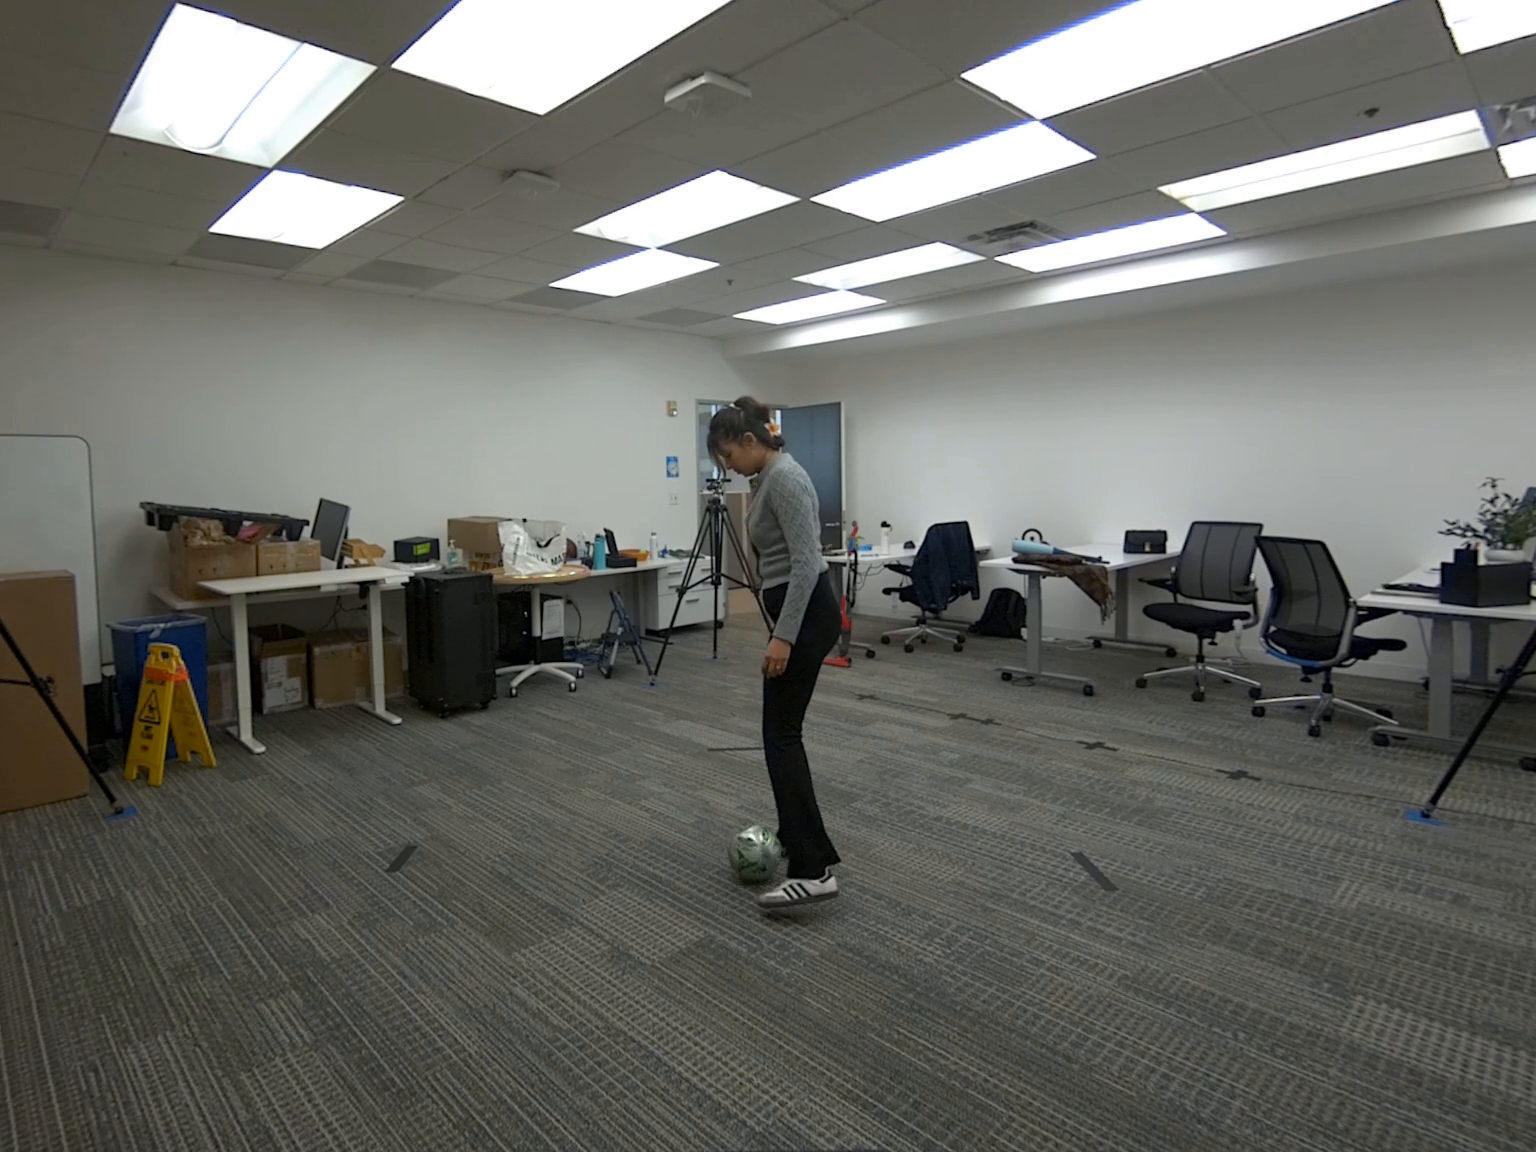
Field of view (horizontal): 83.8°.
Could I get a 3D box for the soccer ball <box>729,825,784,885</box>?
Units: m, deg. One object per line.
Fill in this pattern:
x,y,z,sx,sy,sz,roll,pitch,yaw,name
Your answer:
-0.043,0.968,2.983,0.187,0.187,0.188,-1,5,-2,soccer ball
